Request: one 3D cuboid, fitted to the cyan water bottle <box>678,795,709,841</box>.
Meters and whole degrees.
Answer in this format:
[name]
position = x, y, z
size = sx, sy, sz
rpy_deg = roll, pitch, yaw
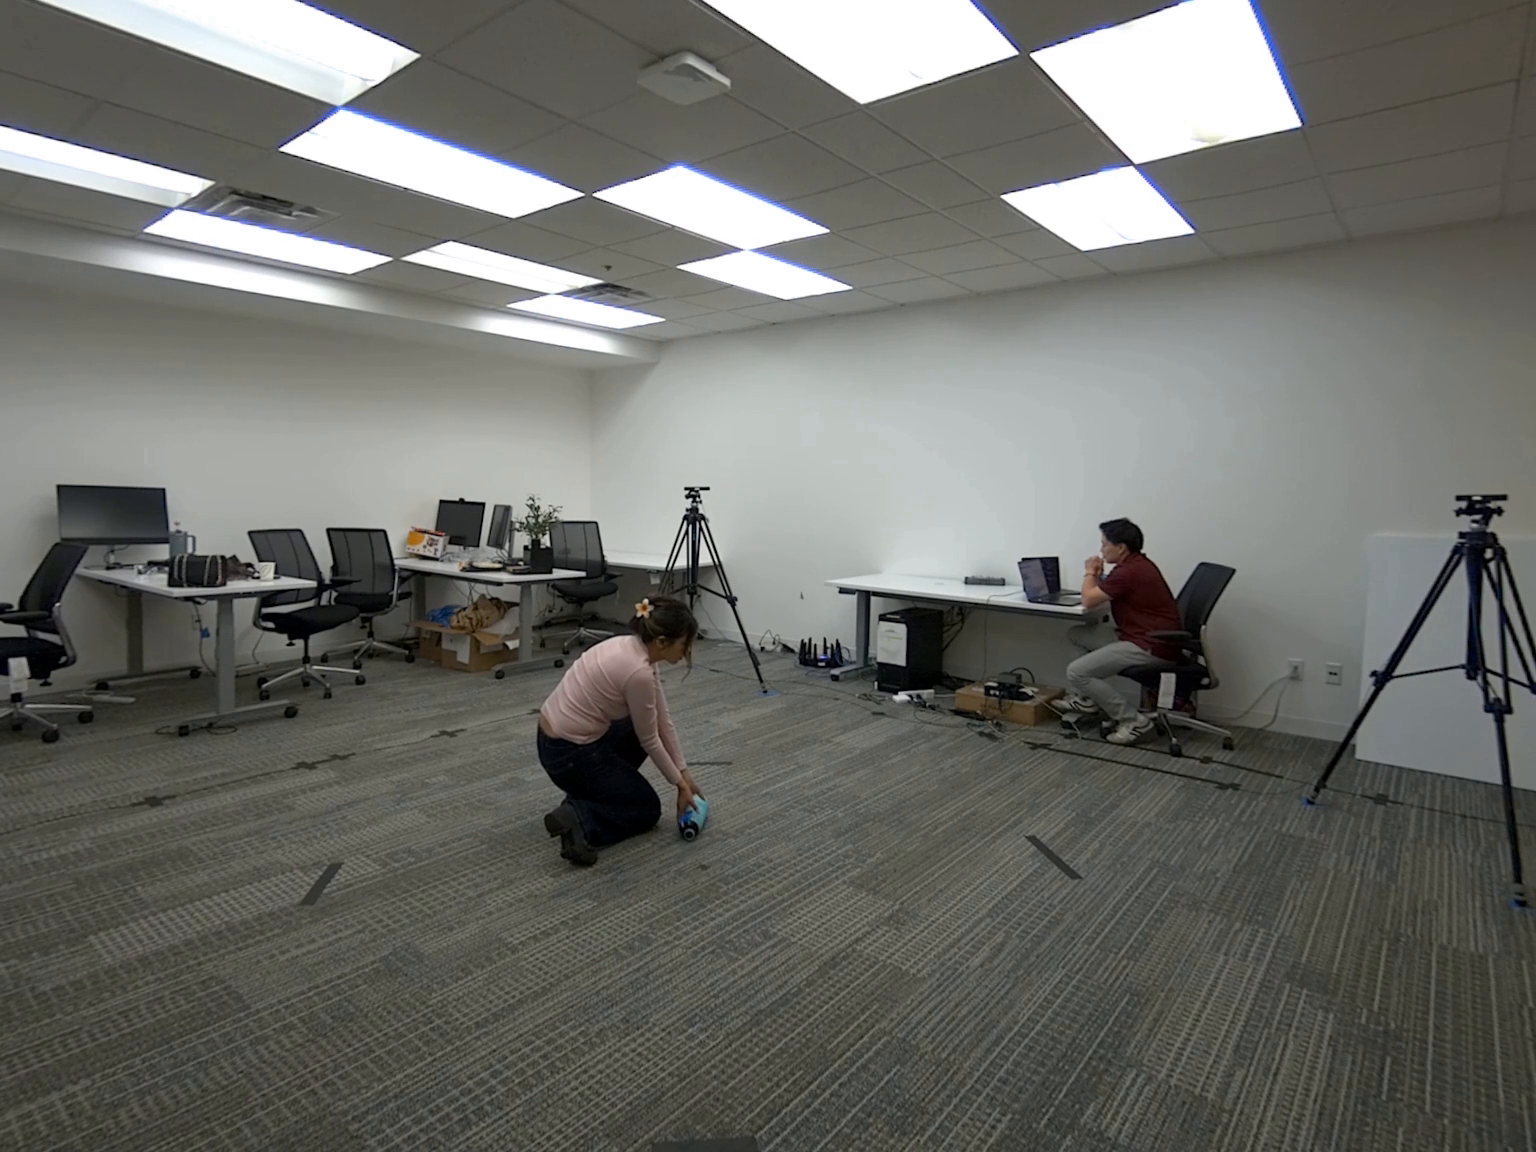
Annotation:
[cyan water bottle]
position = -0.309, 0.993, 3.473
size = 0.093, 0.091, 0.283
rpy_deg = 1, 10, 5
